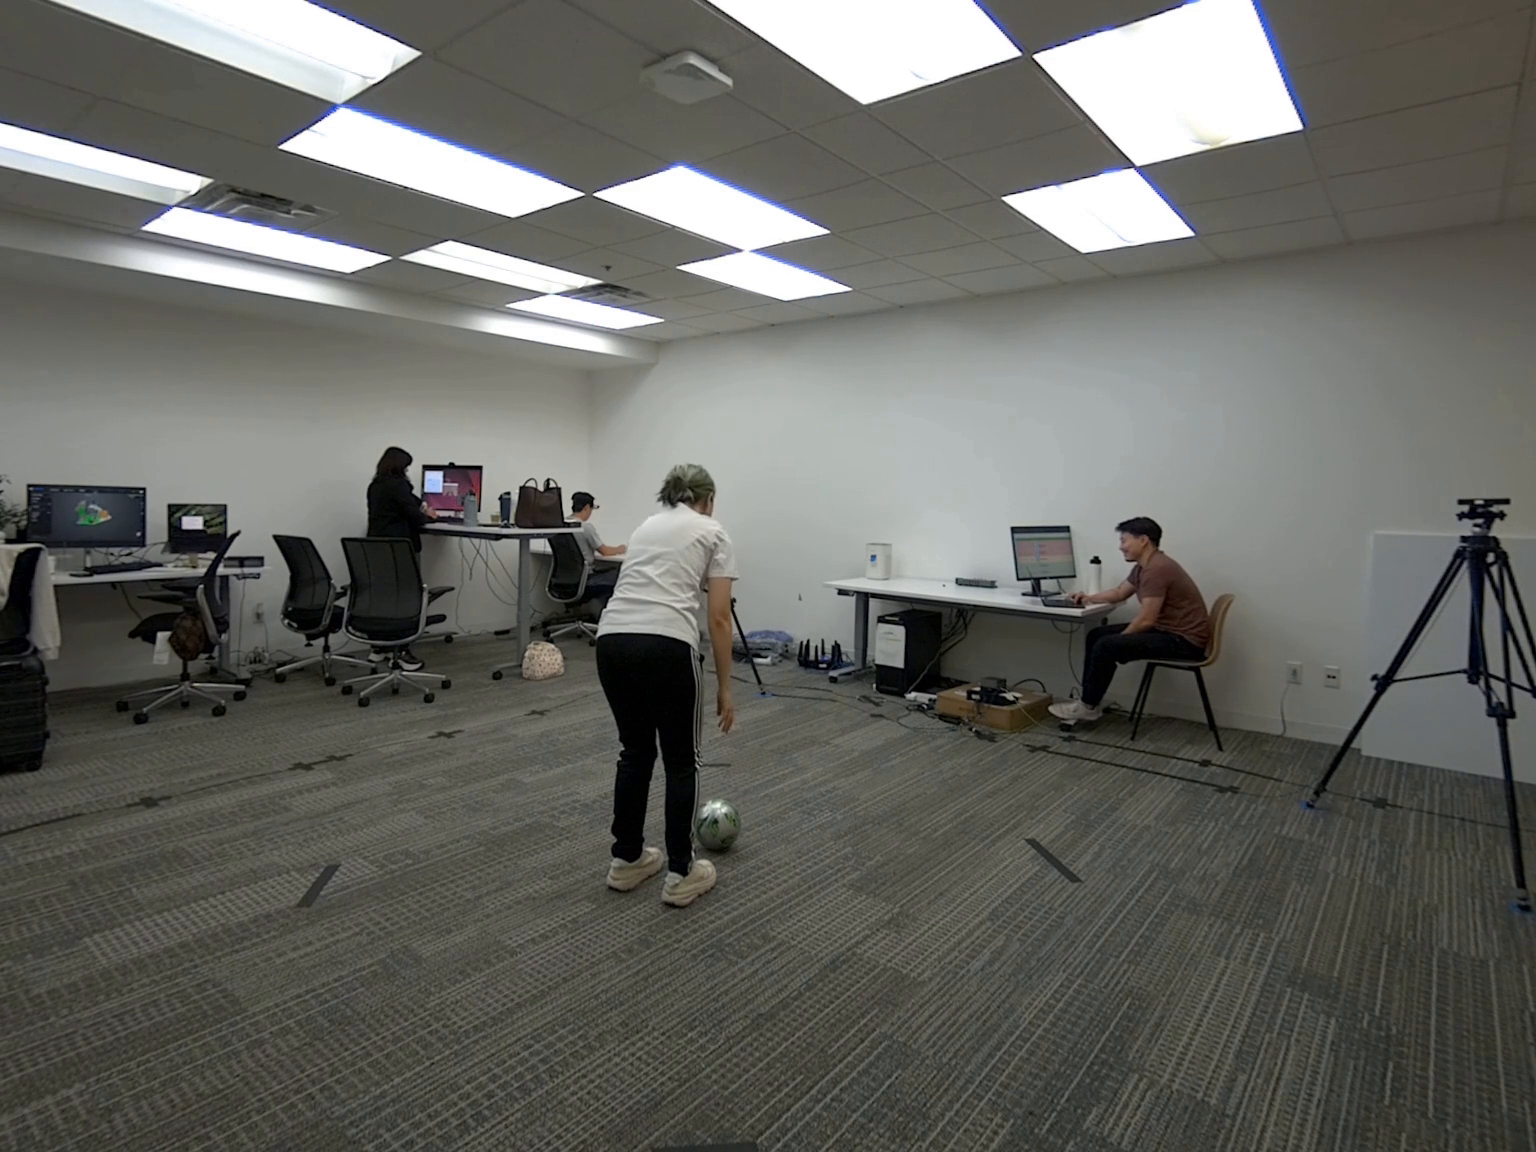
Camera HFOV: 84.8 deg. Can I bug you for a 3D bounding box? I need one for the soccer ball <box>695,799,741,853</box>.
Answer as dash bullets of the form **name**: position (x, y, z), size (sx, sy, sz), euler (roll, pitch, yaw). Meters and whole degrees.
- **soccer ball**: position (-0.213, 0.958, 3.294), size (0.187, 0.187, 0.188), euler (1, 4, -2)
